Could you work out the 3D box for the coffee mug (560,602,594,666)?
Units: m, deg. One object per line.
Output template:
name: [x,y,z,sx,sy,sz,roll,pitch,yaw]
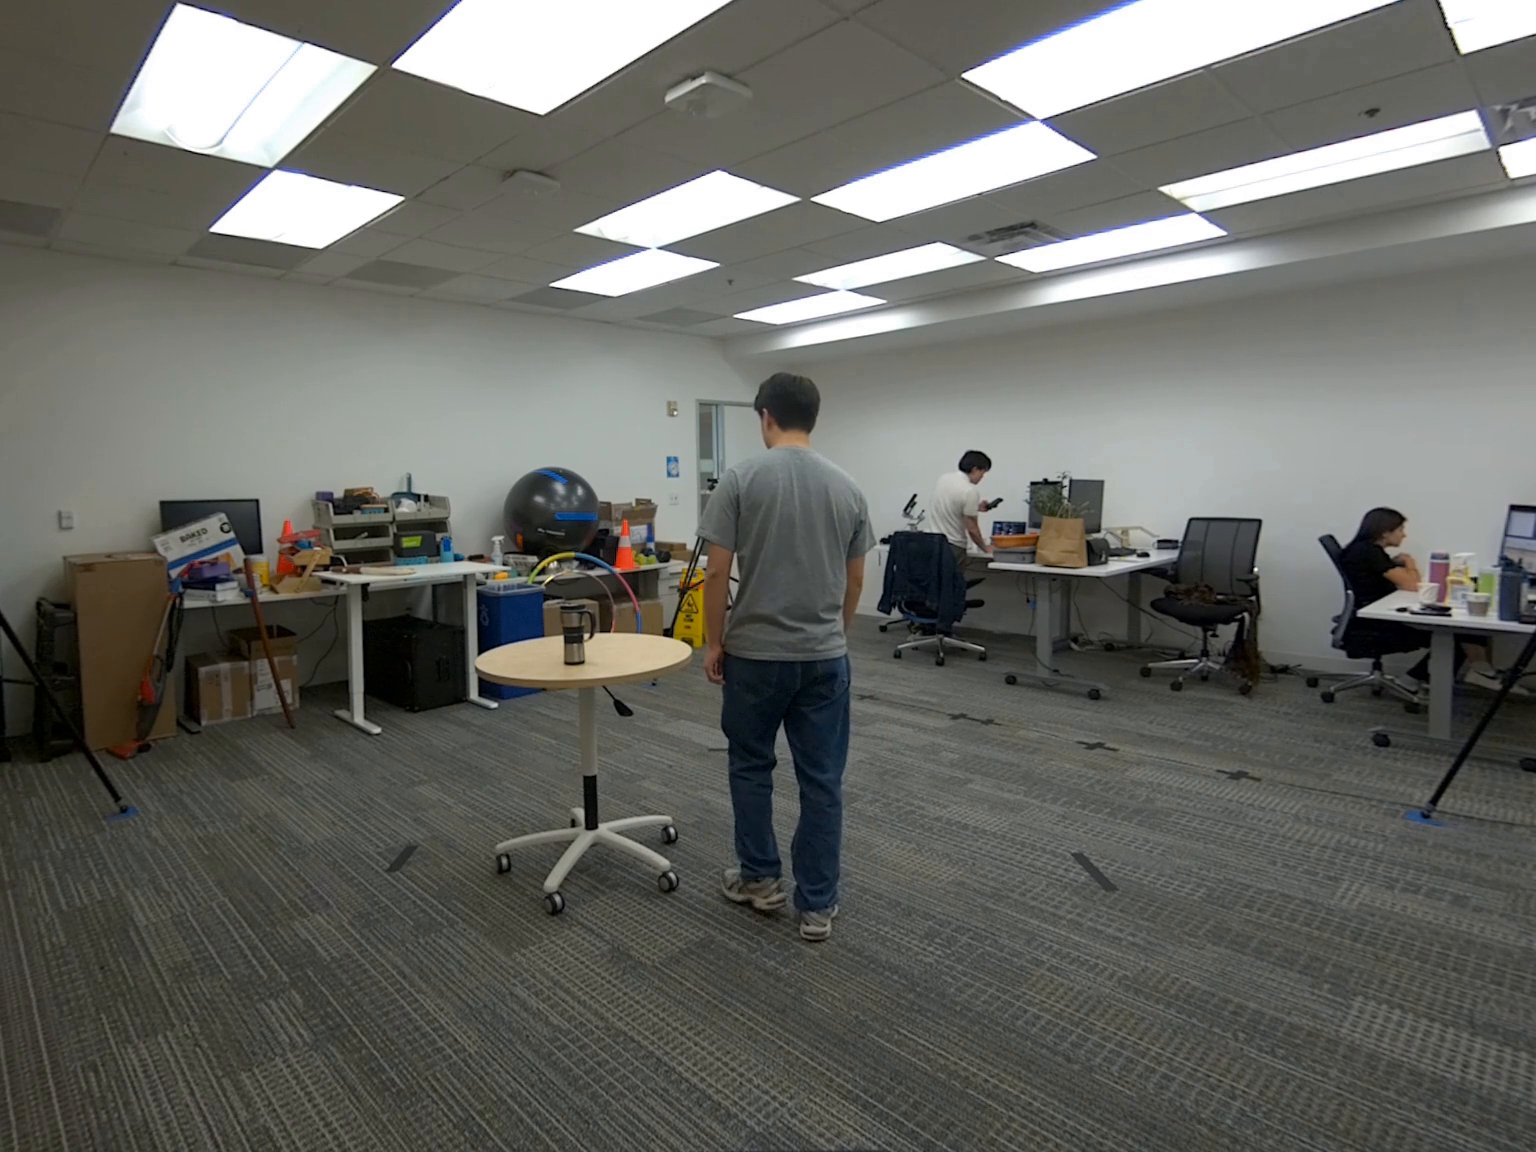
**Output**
coffee mug: [-0.646,0.201,2.890,0.125,0.203,0.085,-2,-1,45]
